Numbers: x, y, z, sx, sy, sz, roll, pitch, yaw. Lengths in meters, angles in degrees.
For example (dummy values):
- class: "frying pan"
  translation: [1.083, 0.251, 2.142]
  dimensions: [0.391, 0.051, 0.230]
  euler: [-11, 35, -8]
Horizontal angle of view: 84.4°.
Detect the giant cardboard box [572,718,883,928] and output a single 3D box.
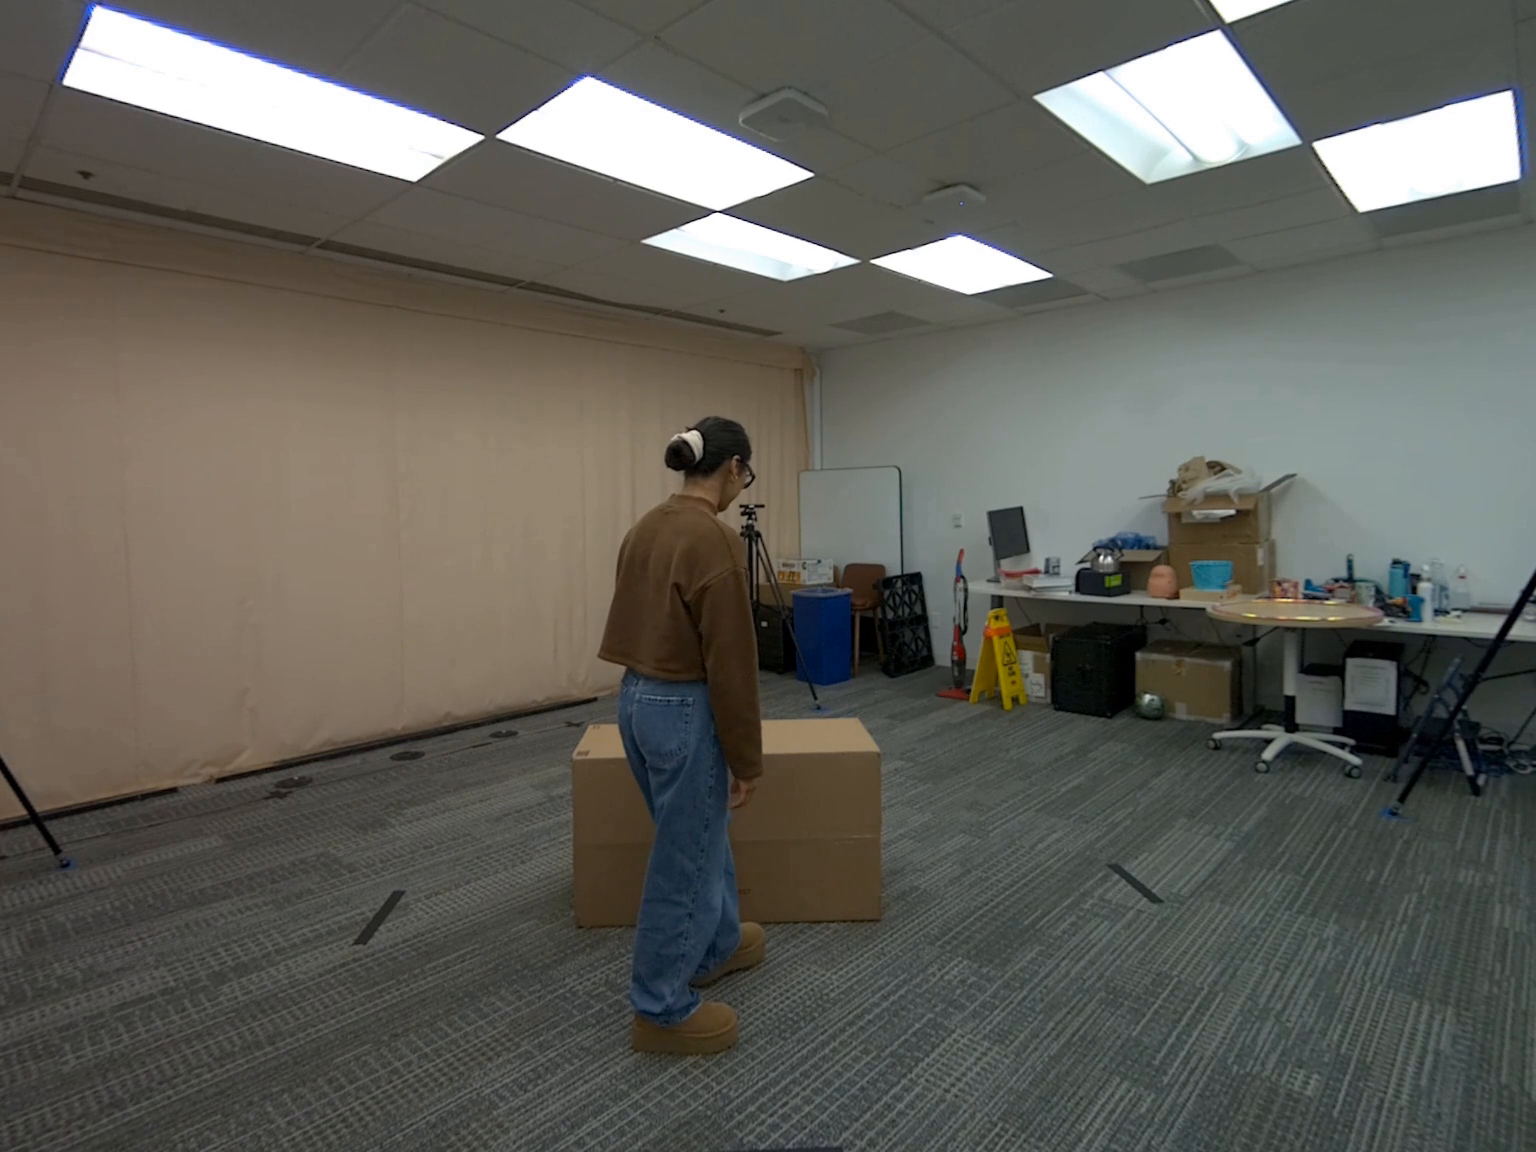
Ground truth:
- class: "giant cardboard box"
  translation: [-0.149, 0.856, 2.993]
  dimensions: [1.027, 0.582, 0.448]
  euler: [-1, 5, 0]
